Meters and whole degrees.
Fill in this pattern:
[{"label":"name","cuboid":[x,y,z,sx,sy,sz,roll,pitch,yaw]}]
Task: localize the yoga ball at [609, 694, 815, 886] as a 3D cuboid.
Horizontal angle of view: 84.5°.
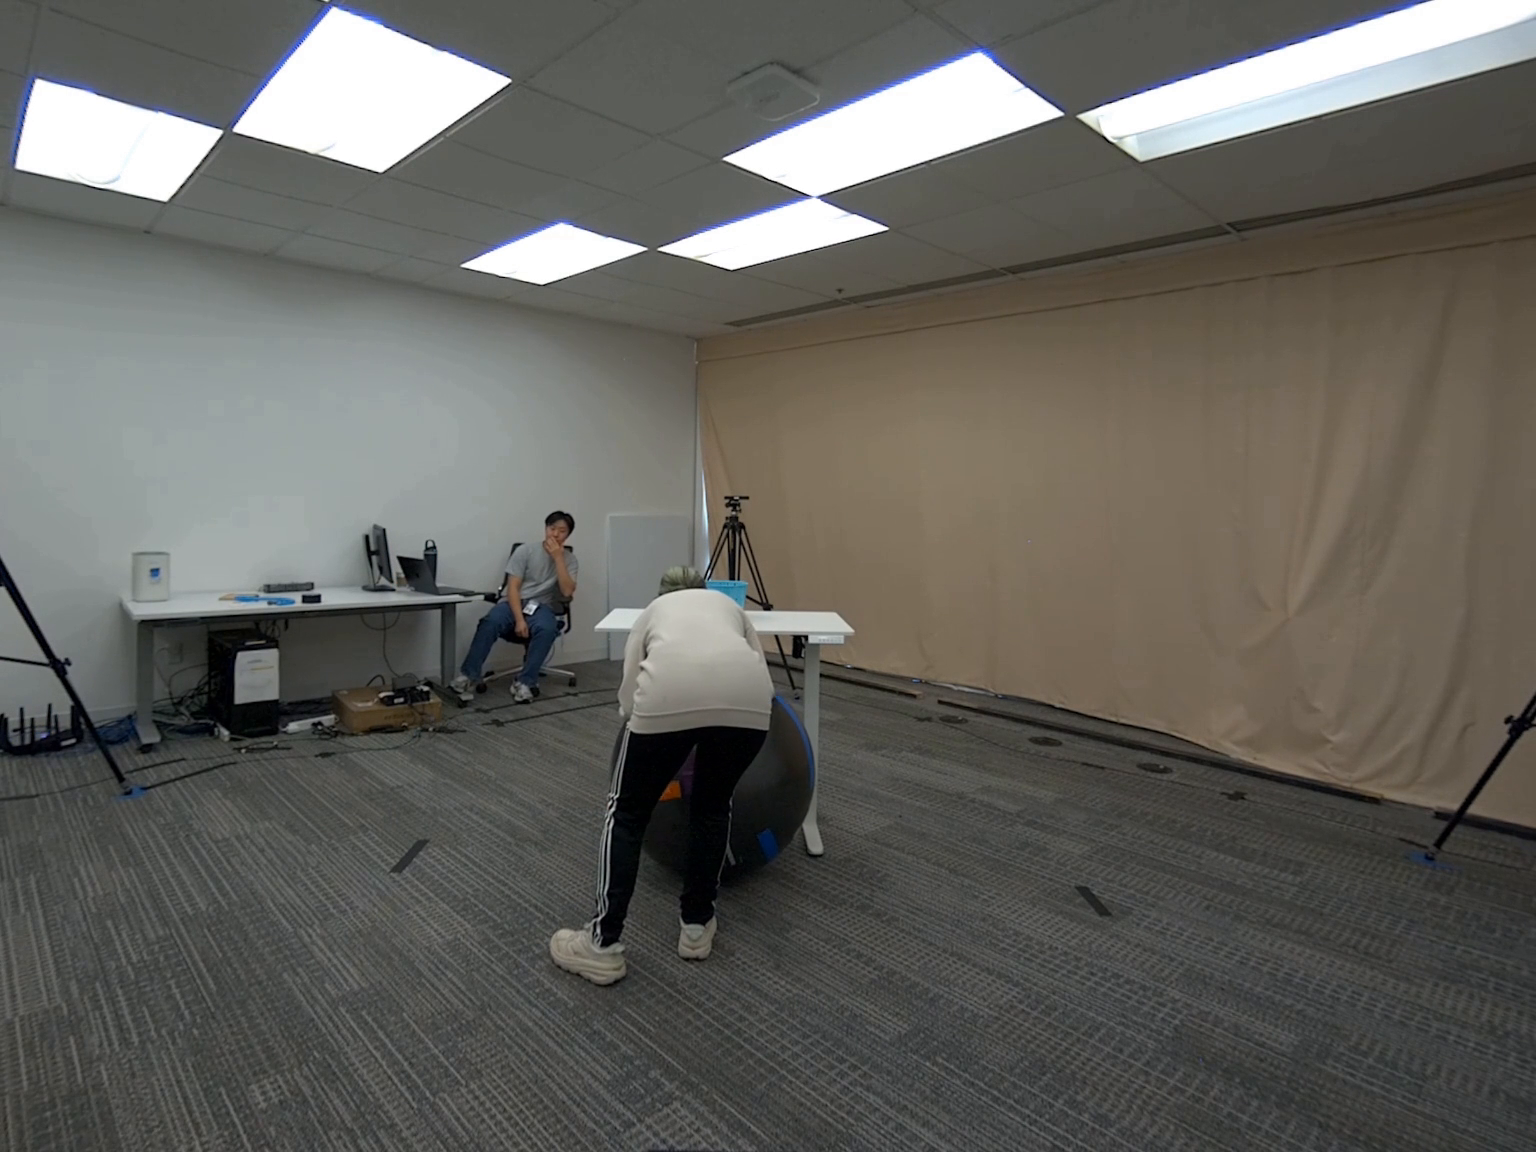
[{"label":"yoga ball","cuboid":[-0.213,0.731,3.141,0.757,0.756,0.761,1,4,-1]}]
